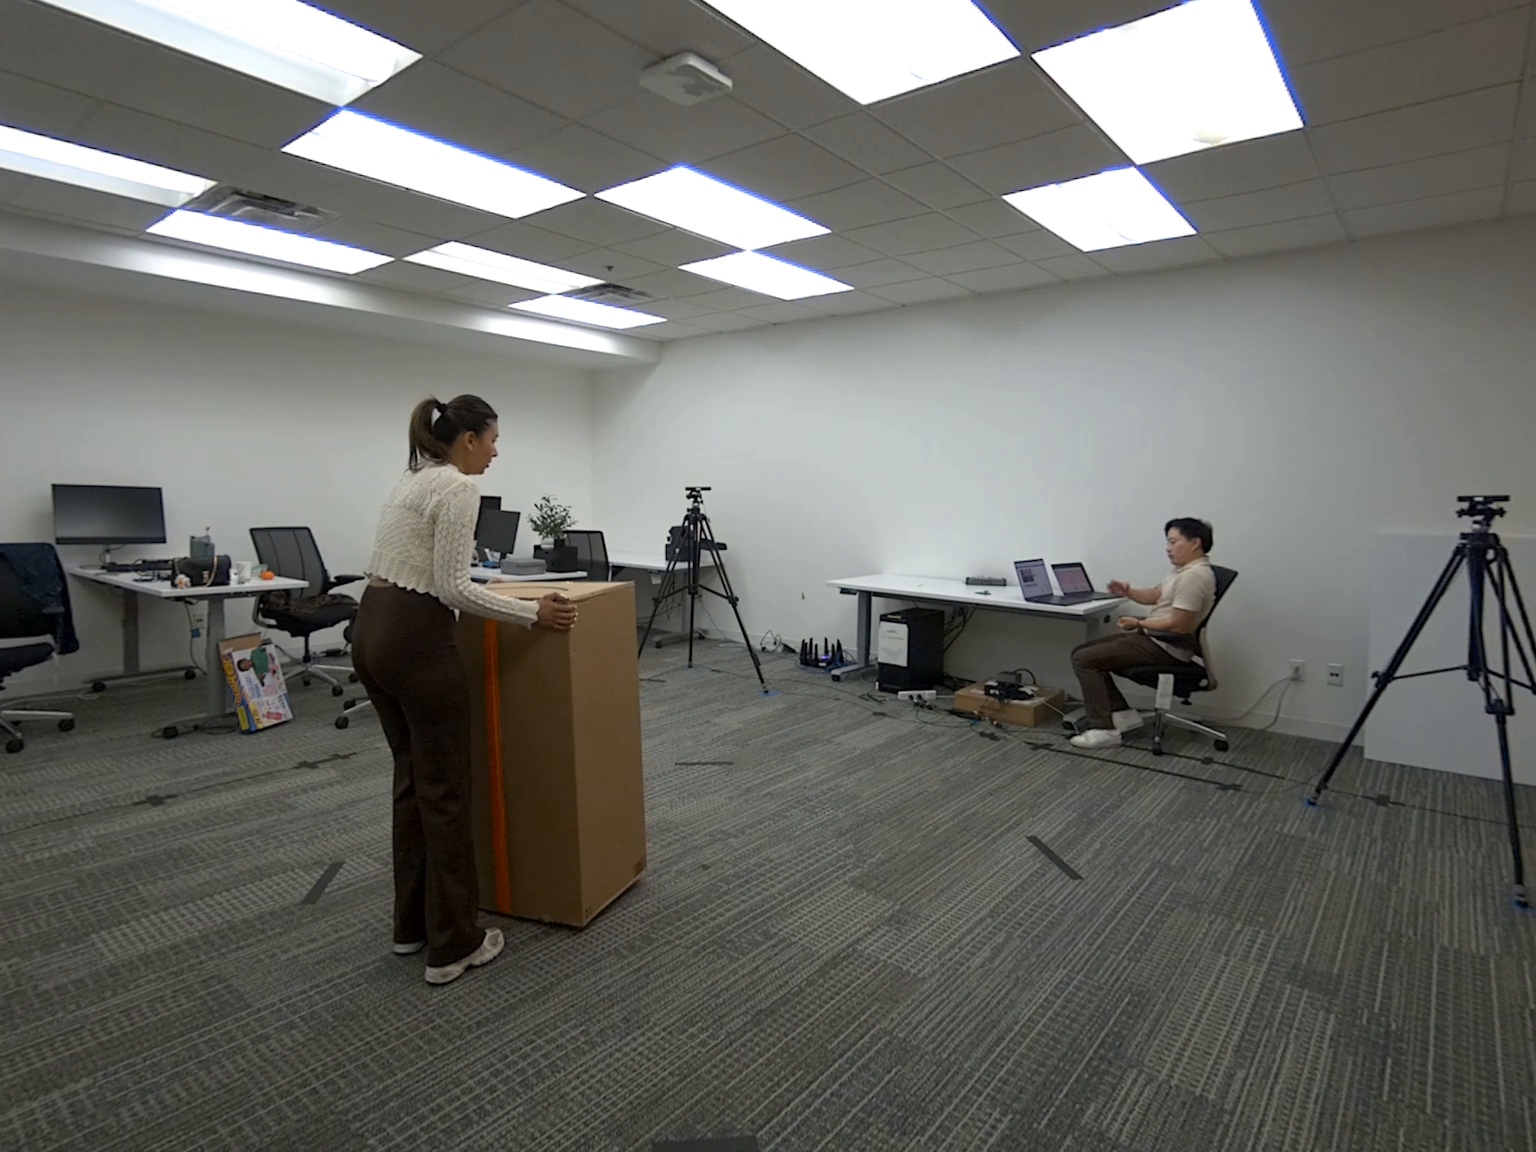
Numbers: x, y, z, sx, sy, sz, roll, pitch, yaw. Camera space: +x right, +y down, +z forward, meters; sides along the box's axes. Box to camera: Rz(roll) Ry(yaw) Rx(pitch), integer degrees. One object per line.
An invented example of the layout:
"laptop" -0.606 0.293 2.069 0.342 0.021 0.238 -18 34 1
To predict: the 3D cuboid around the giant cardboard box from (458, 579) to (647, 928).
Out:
"giant cardboard box" -0.791 0.556 2.902 0.591 1.023 0.418 -1 3 23
